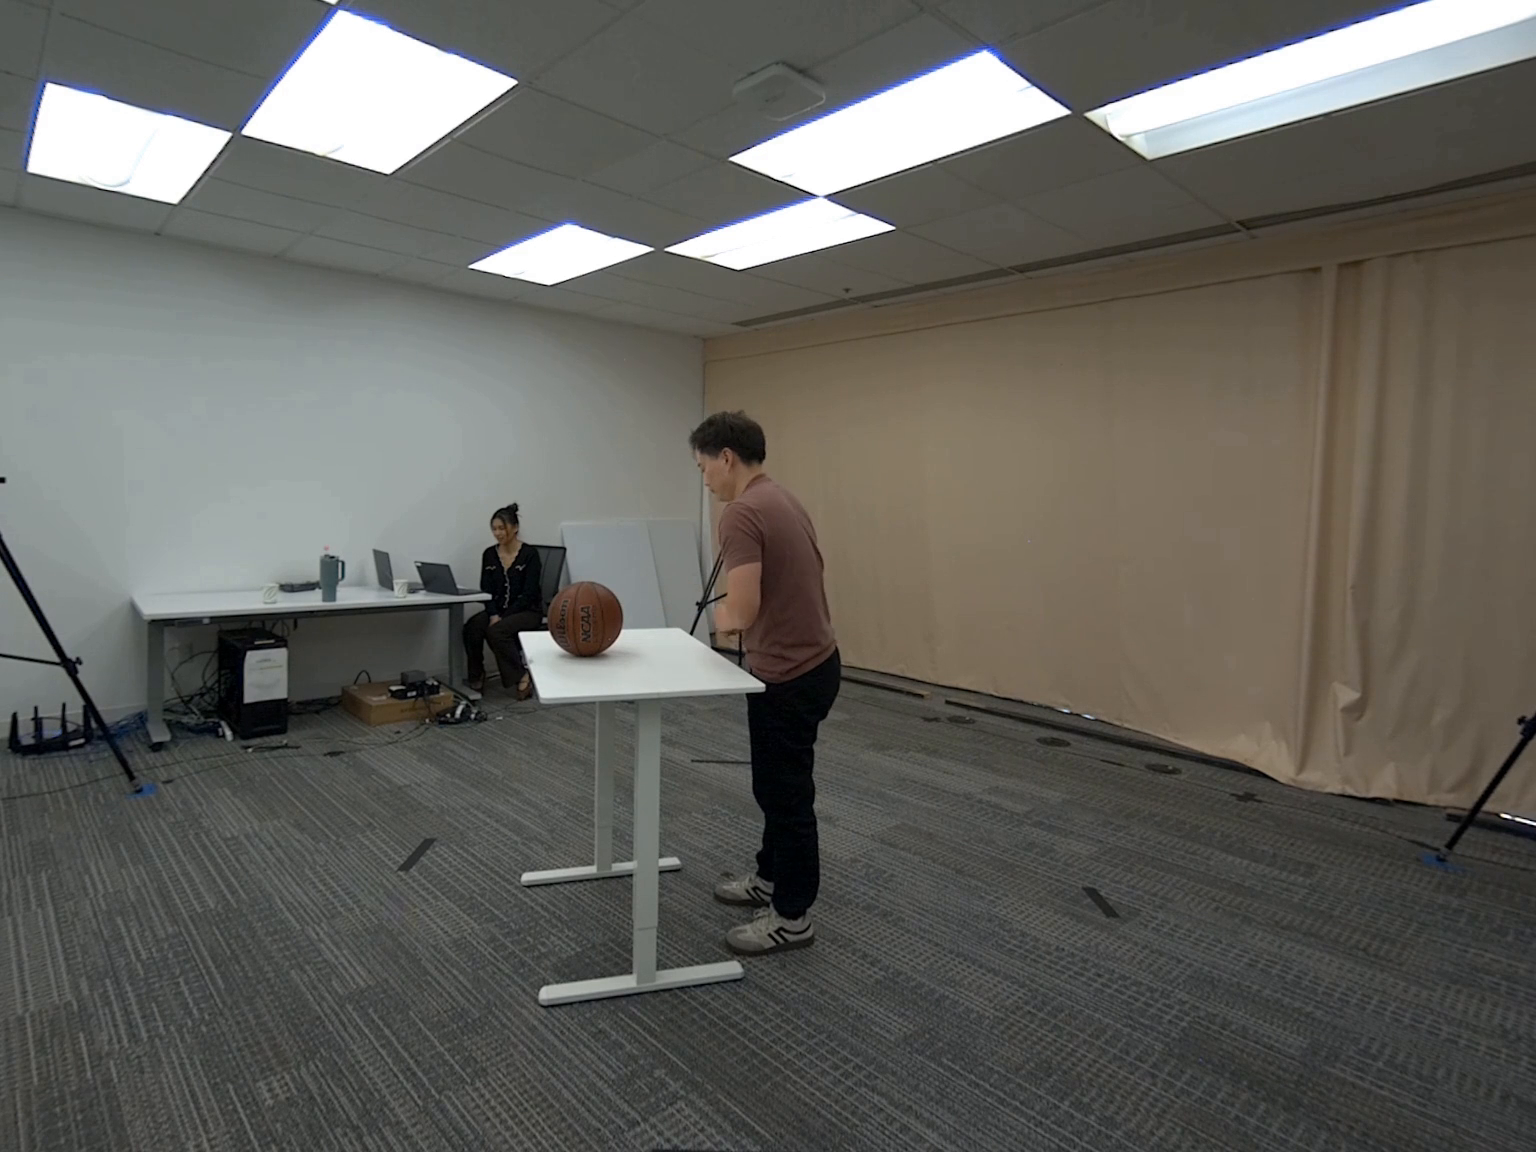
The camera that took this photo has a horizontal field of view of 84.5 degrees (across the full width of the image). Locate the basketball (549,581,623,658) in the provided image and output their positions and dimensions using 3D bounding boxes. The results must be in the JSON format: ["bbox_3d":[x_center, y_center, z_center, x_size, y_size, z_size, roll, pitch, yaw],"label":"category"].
[{"bbox_3d":[-0.583,0.133,2.667,0.236,0.235,0.237,1,4,-1],"label":"basketball"}]
